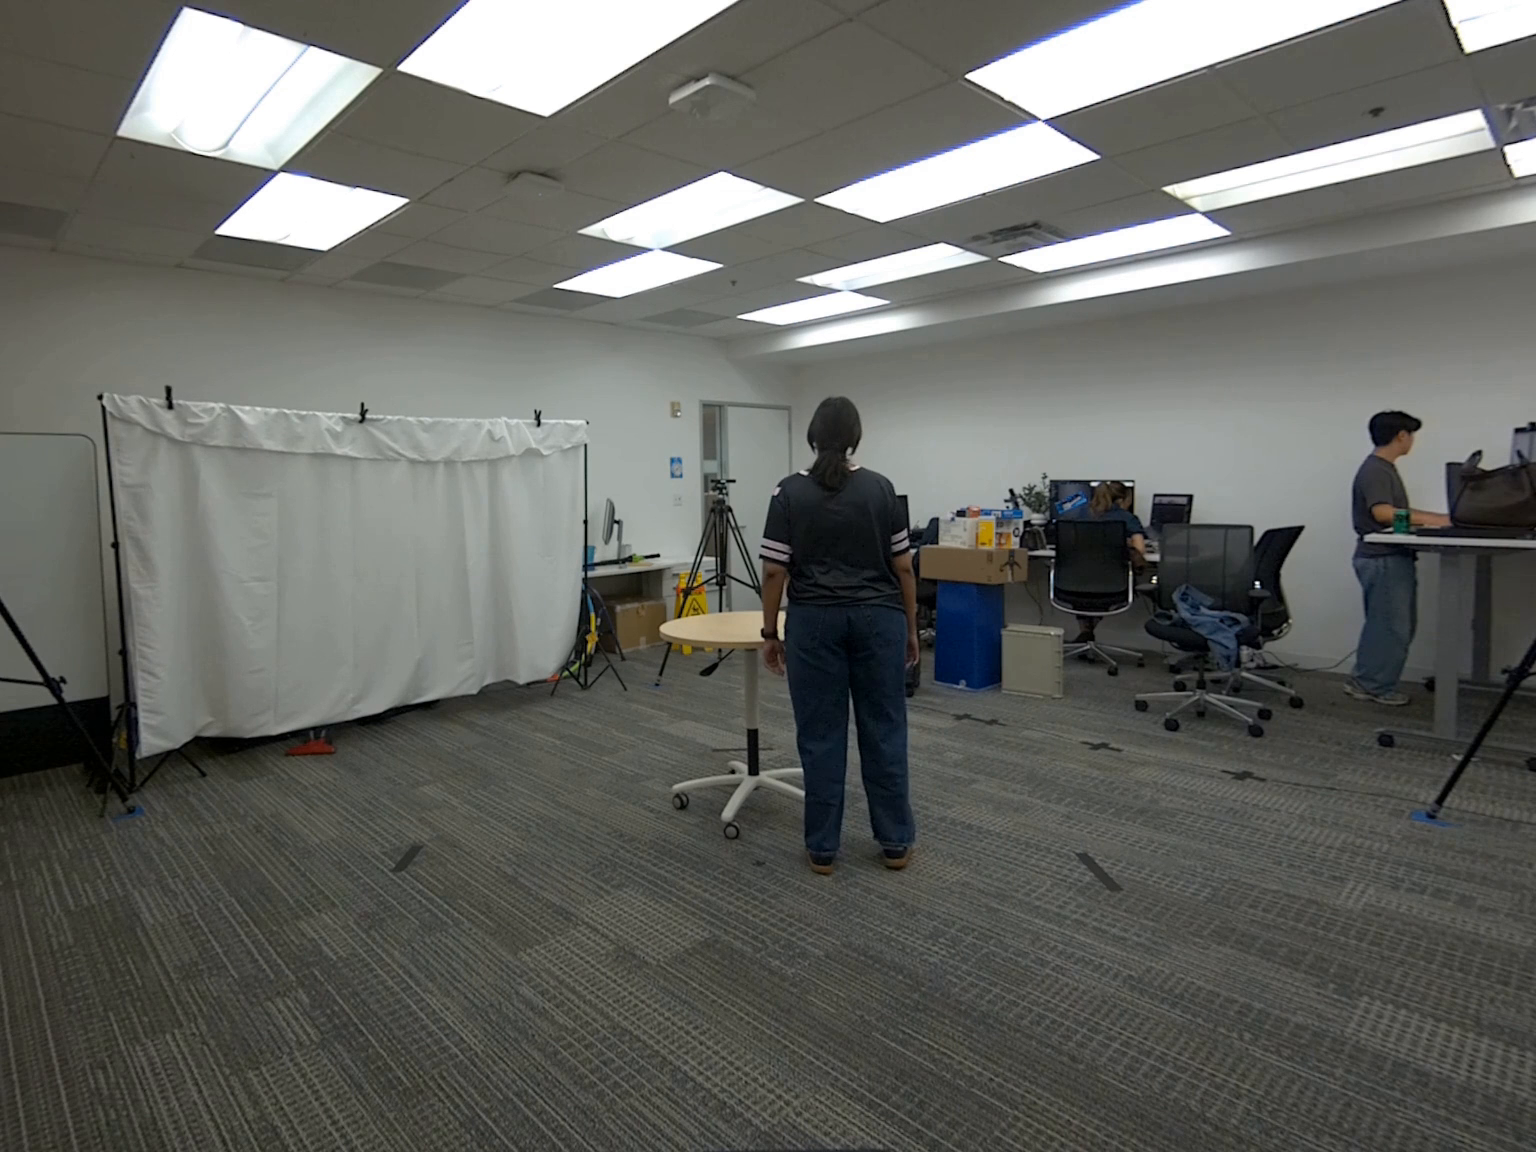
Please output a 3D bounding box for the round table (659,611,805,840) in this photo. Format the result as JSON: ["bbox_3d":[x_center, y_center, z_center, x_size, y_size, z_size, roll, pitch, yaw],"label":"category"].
[{"bbox_3d":[-0.063,0.599,3.634,0.763,0.791,0.767,-2,4,-2],"label":"round table"}]
